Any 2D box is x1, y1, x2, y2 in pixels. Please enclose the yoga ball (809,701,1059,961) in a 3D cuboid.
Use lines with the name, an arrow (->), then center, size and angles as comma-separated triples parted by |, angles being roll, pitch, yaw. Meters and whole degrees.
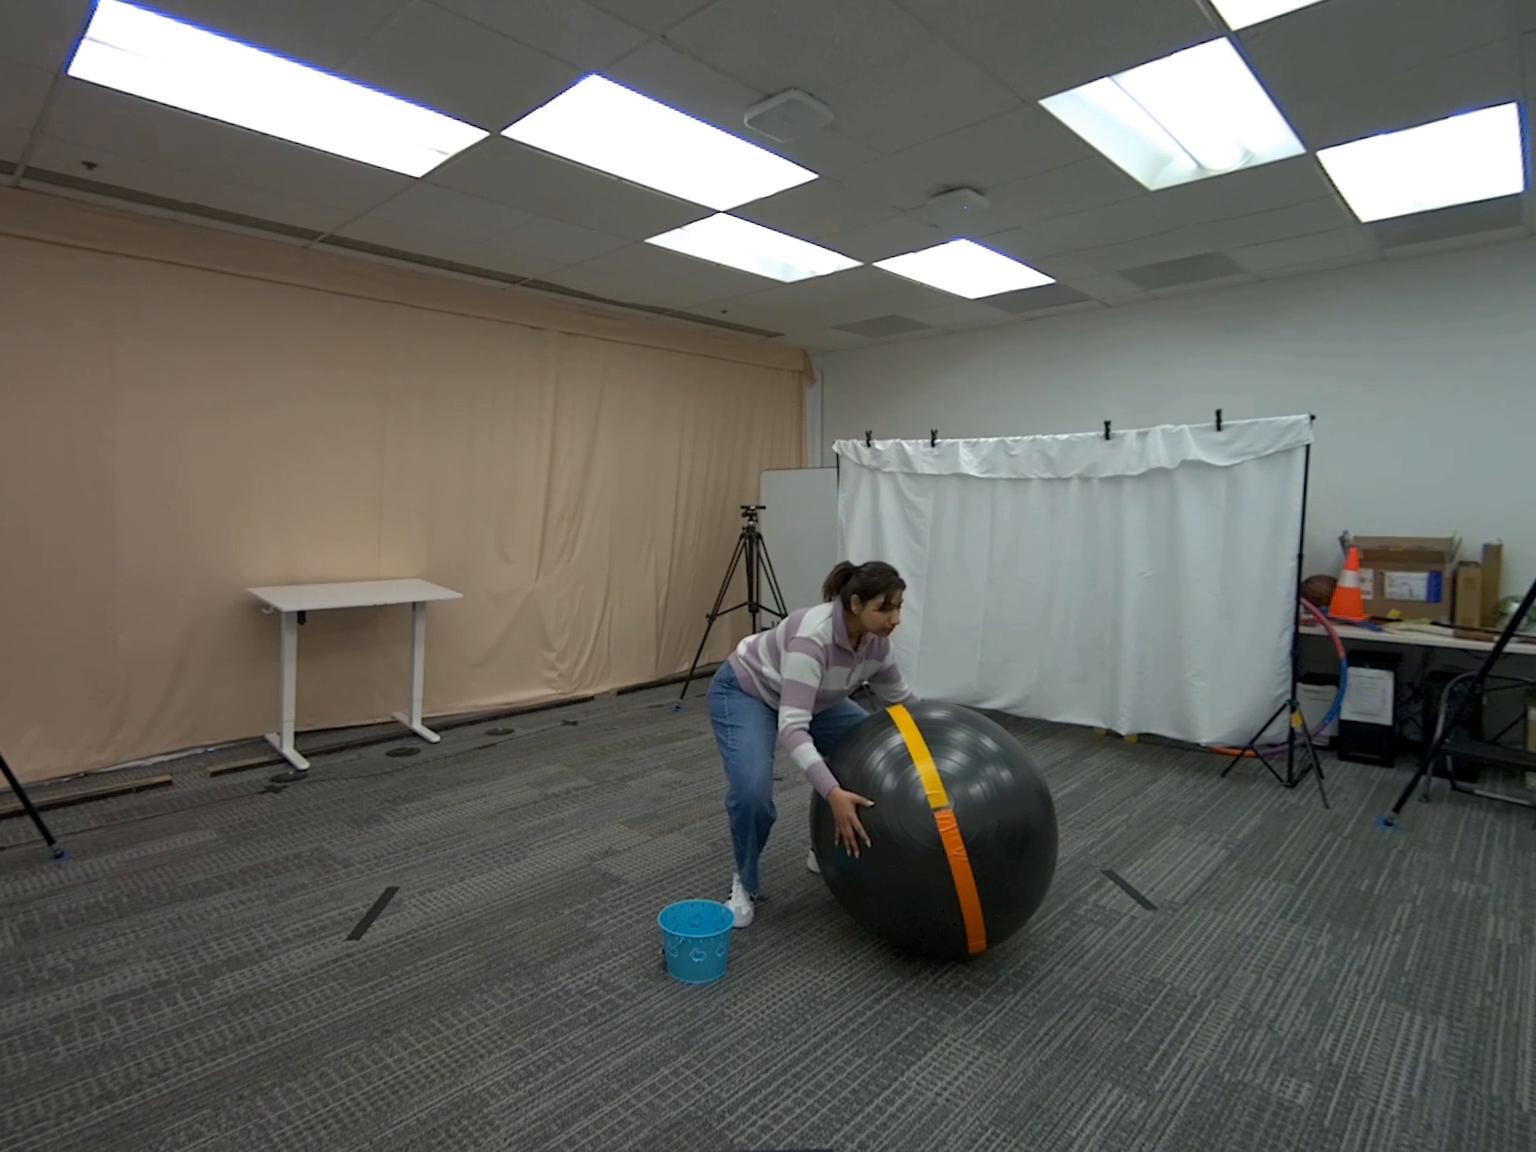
yoga ball -> 0.526, 0.785, 2.650 | 0.757, 0.756, 0.761 | 0, 4, -2
